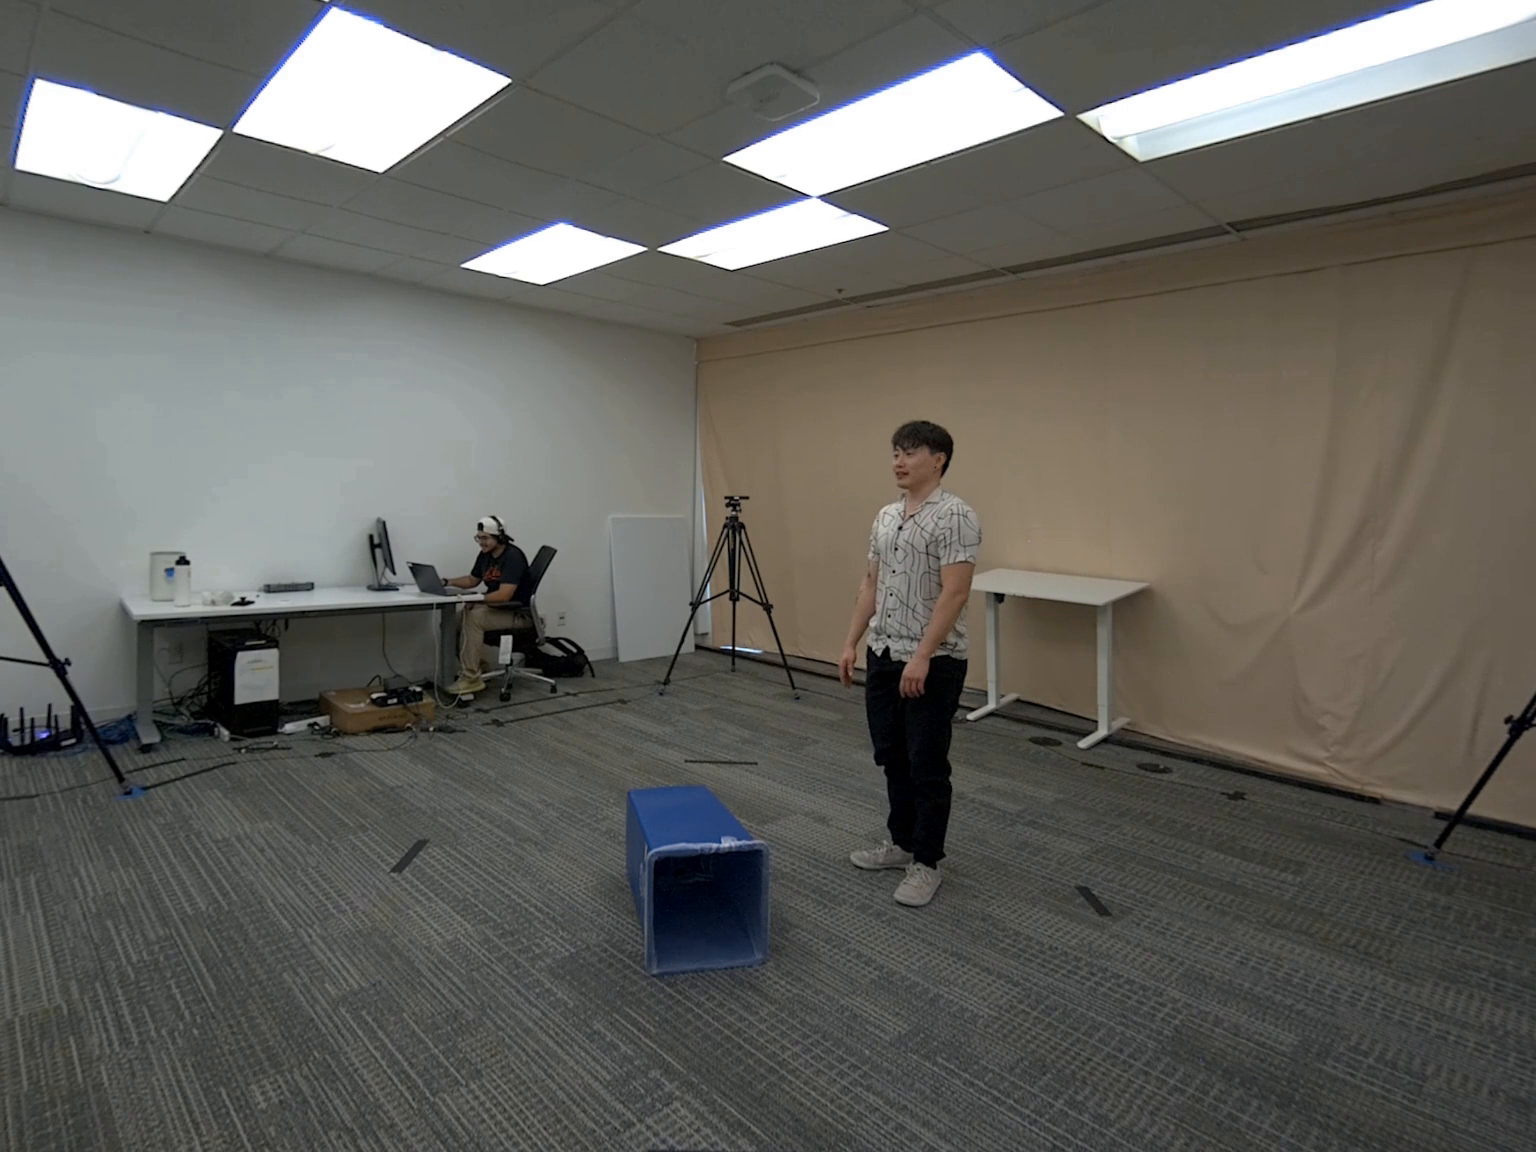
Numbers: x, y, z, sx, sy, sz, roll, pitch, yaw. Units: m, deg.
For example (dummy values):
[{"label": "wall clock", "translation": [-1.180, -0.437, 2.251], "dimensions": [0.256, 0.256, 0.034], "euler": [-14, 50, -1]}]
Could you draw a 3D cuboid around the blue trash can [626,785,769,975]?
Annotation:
[{"label": "blue trash can", "translation": [-0.272, 0.958, 2.808], "dimensions": [0.373, 0.374, 0.722], "euler": [1, 1, -16]}]
